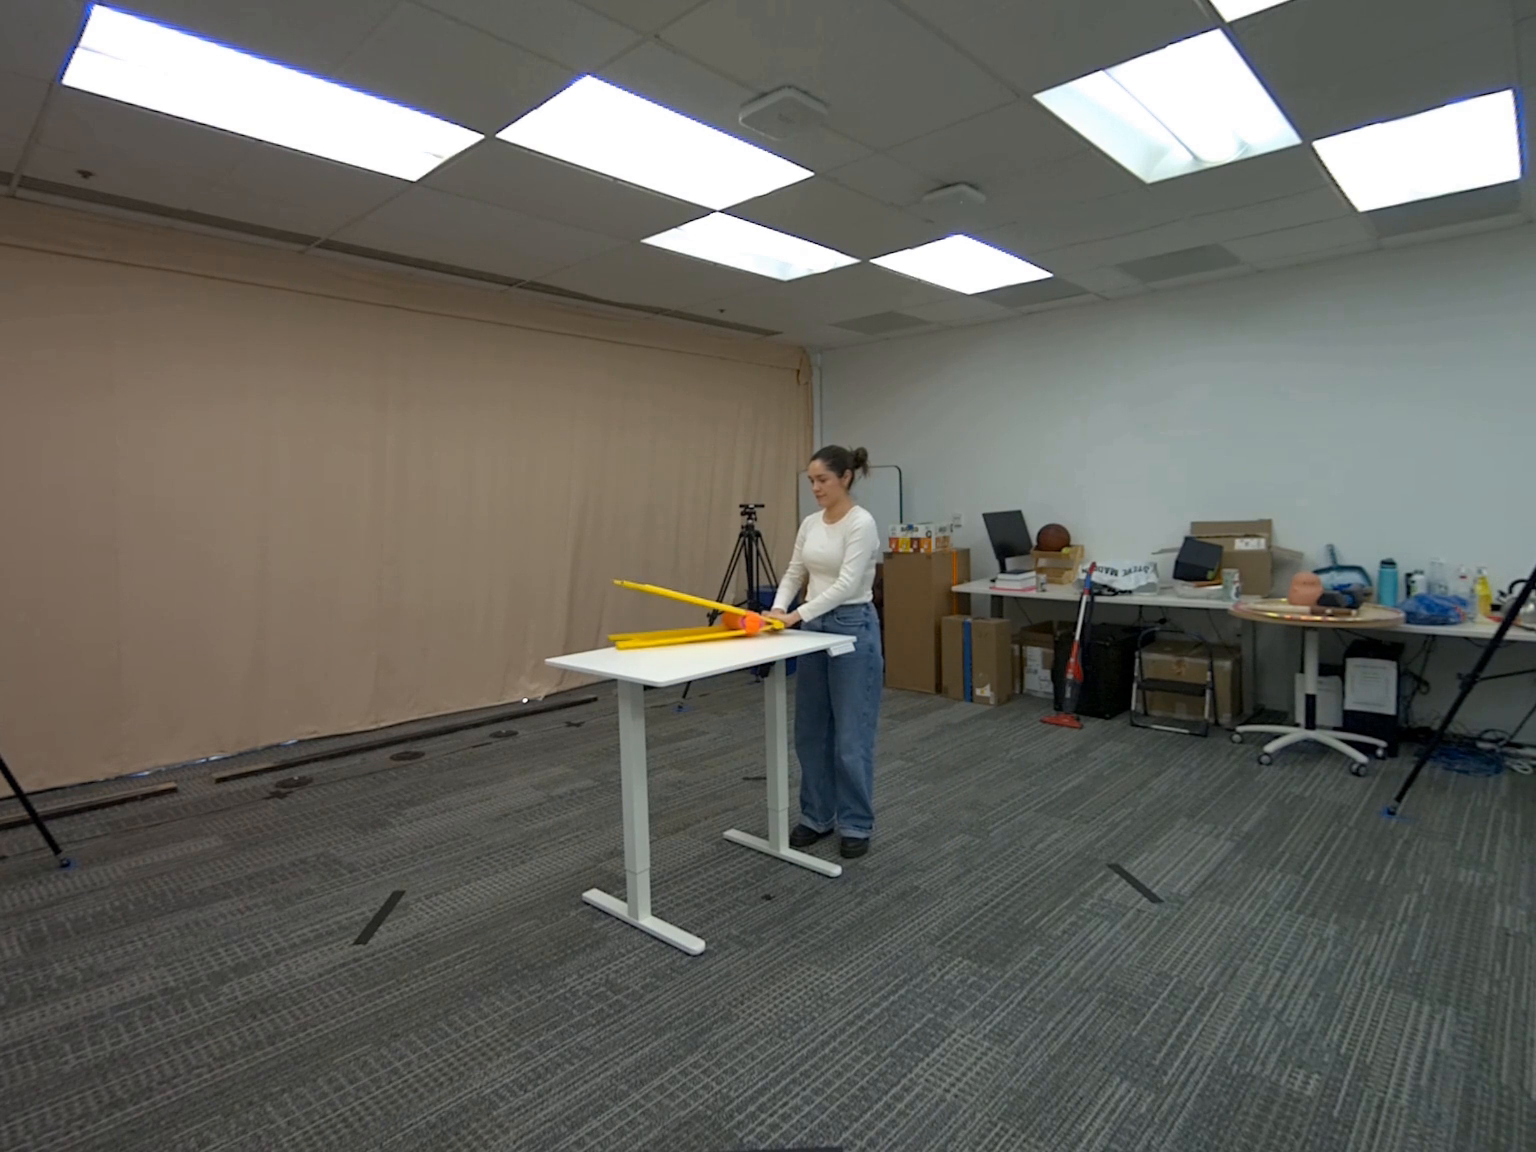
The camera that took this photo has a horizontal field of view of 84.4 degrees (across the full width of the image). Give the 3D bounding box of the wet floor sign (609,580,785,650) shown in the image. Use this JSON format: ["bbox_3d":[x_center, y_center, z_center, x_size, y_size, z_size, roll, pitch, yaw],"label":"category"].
[{"bbox_3d":[-0.262,0.176,3.231,0.635,0.290,0.287,5,-1,-16],"label":"wet floor sign"}]
